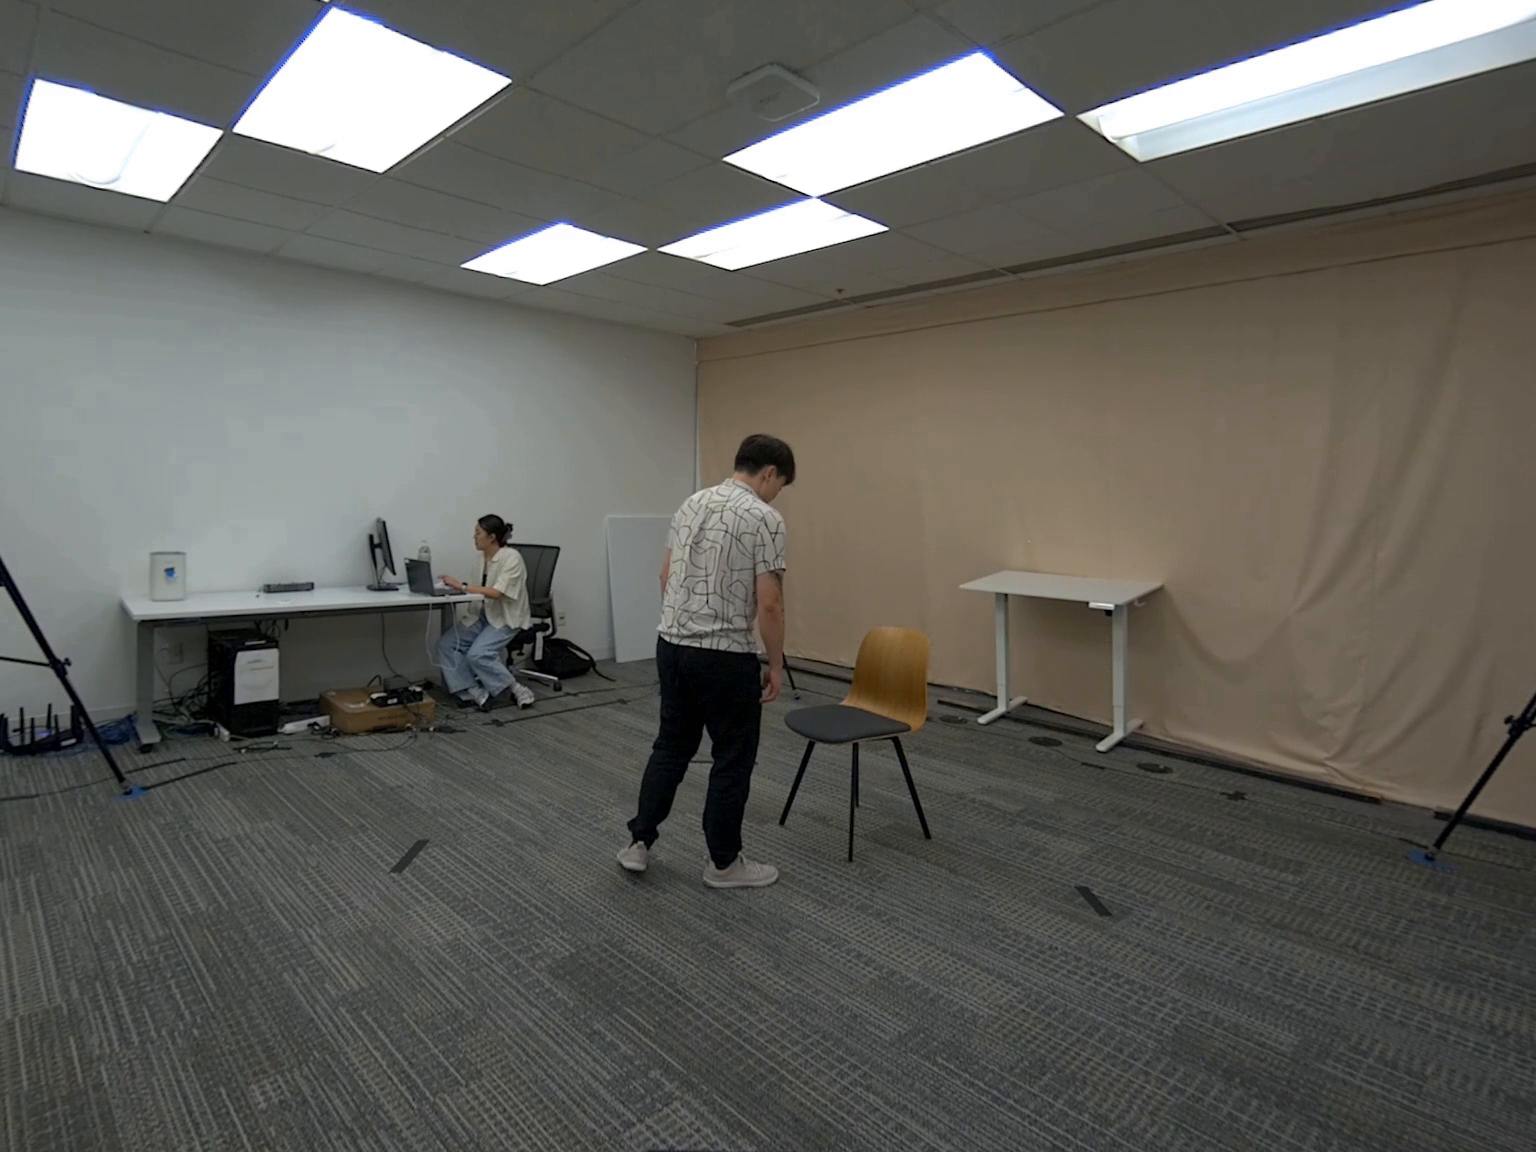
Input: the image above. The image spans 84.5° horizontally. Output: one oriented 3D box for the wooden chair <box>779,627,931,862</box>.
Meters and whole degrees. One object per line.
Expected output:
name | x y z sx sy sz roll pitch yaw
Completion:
wooden chair | 0.363 0.654 3.511 0.510 0.877 0.490 5 1 -36
